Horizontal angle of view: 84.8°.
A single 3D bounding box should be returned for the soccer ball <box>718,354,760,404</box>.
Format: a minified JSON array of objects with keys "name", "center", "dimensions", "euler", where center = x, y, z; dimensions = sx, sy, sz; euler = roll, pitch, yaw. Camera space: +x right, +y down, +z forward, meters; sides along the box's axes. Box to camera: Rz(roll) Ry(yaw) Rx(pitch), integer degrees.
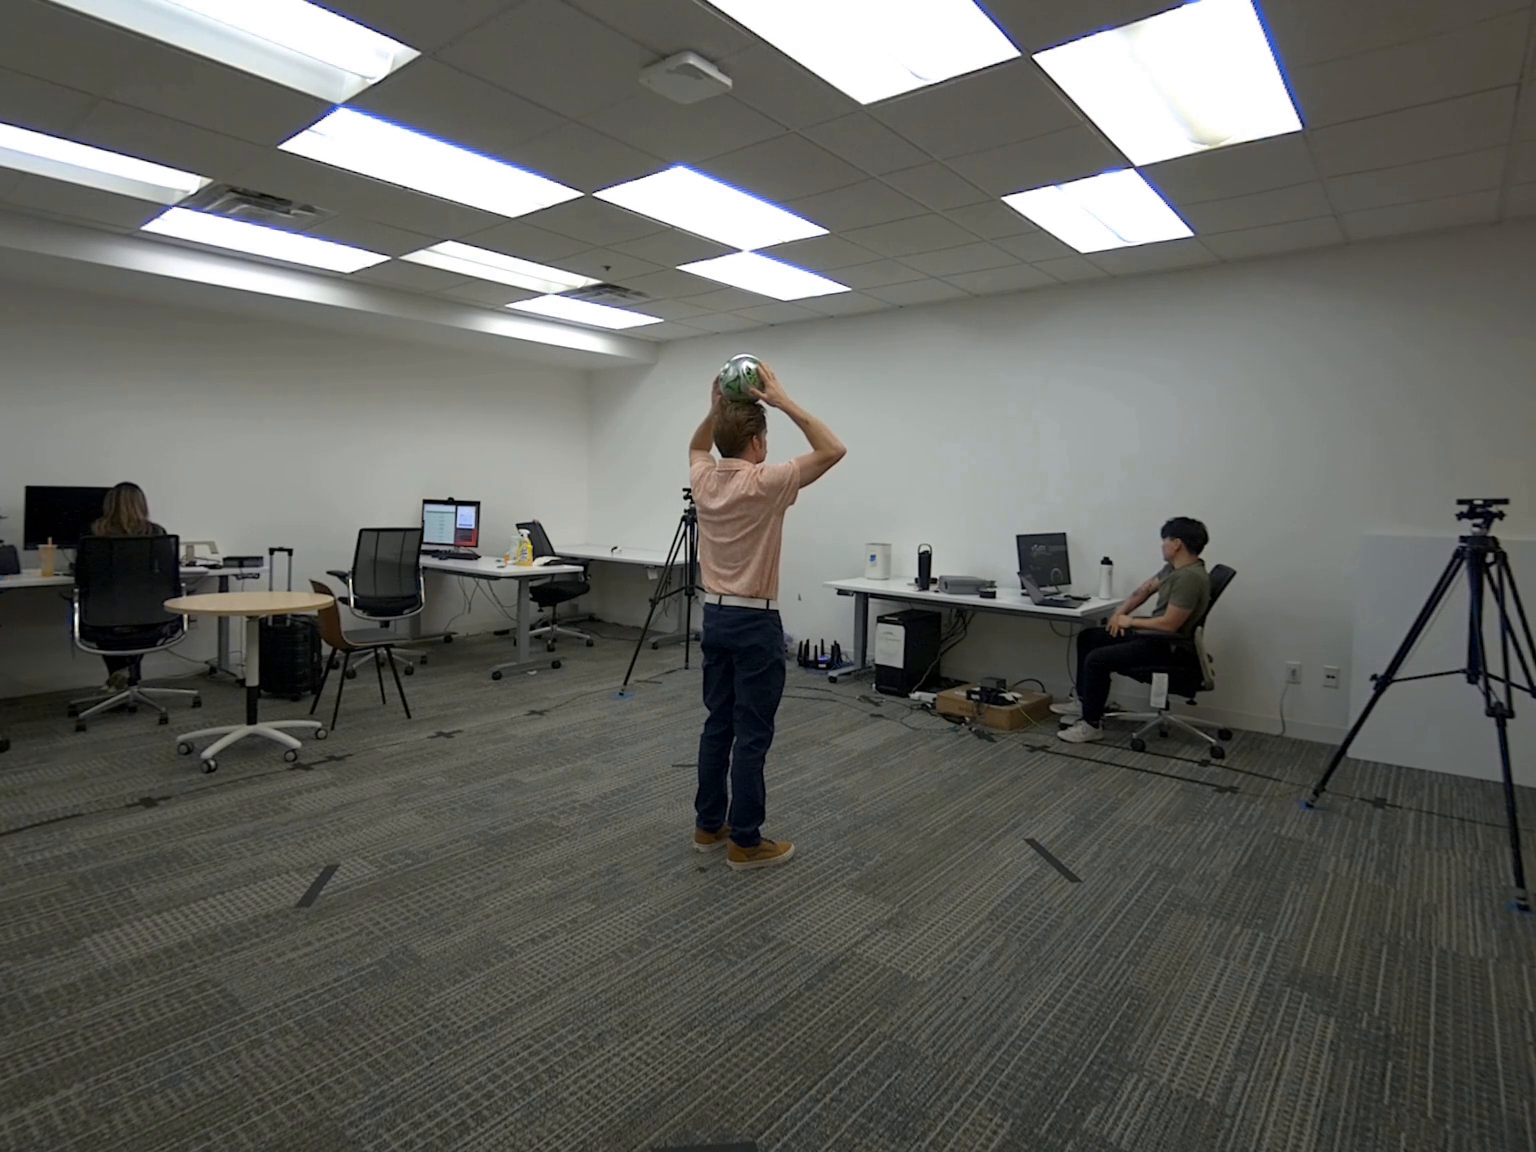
[{"name":"soccer ball","center":[-0.101,-0.727,3.164],"dimensions":[0.187,0.187,0.188],"euler":[1,4,-2]}]
